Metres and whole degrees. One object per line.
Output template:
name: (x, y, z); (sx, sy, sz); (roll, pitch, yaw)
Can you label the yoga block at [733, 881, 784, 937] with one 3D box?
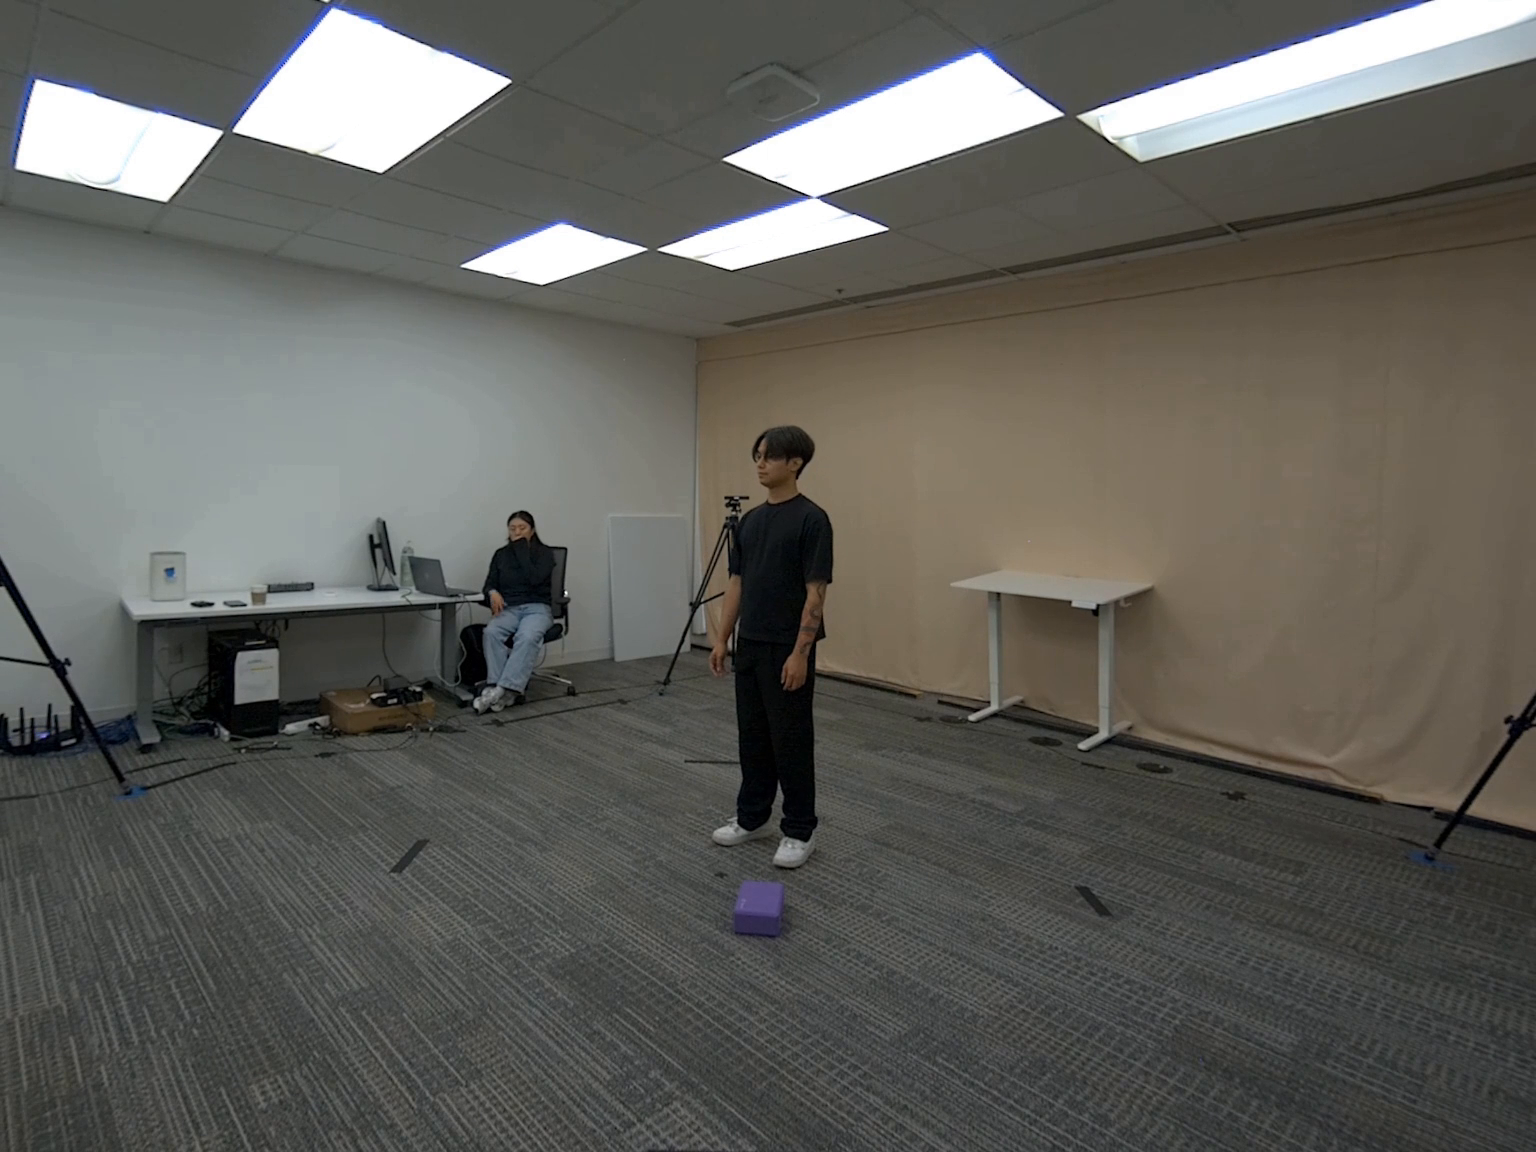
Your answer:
yoga block: (-0.040, 1.098, 2.782); (0.150, 0.076, 0.229); (0, 6, 6)
